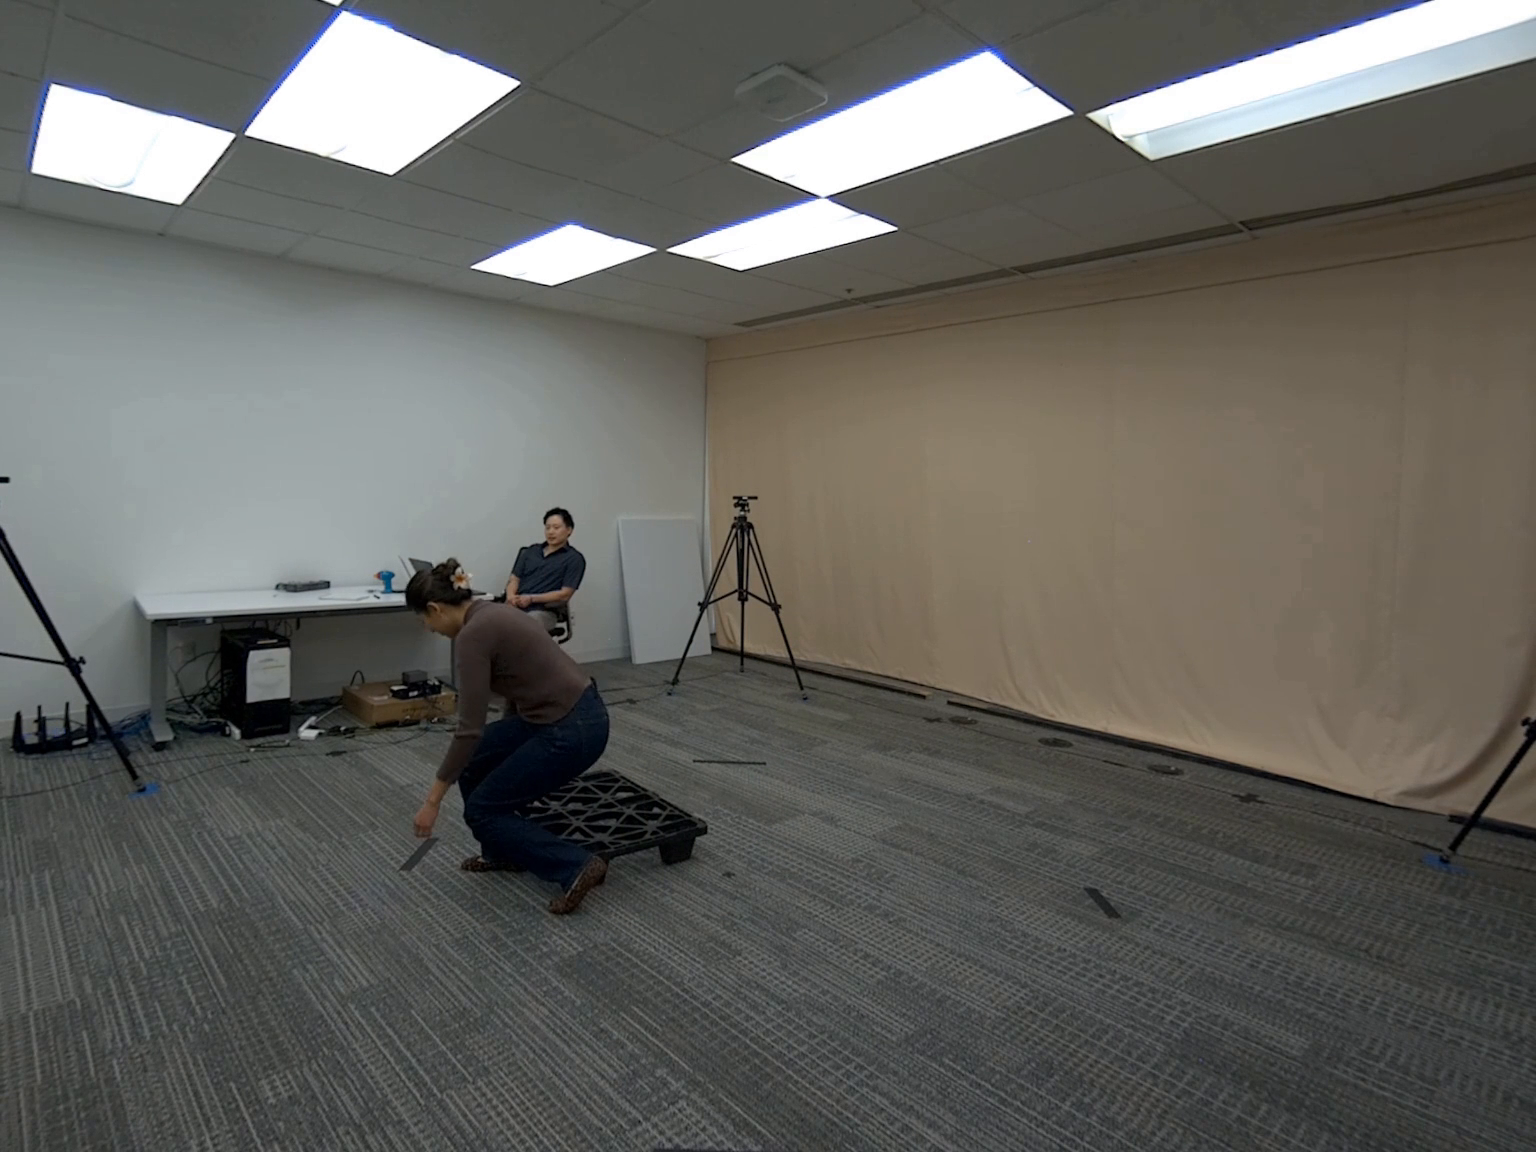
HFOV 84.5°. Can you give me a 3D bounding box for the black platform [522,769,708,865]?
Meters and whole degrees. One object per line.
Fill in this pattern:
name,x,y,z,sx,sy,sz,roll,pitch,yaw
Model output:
black platform,-0.710,0.999,3.387,0.591,0.143,0.826,-1,6,-37
